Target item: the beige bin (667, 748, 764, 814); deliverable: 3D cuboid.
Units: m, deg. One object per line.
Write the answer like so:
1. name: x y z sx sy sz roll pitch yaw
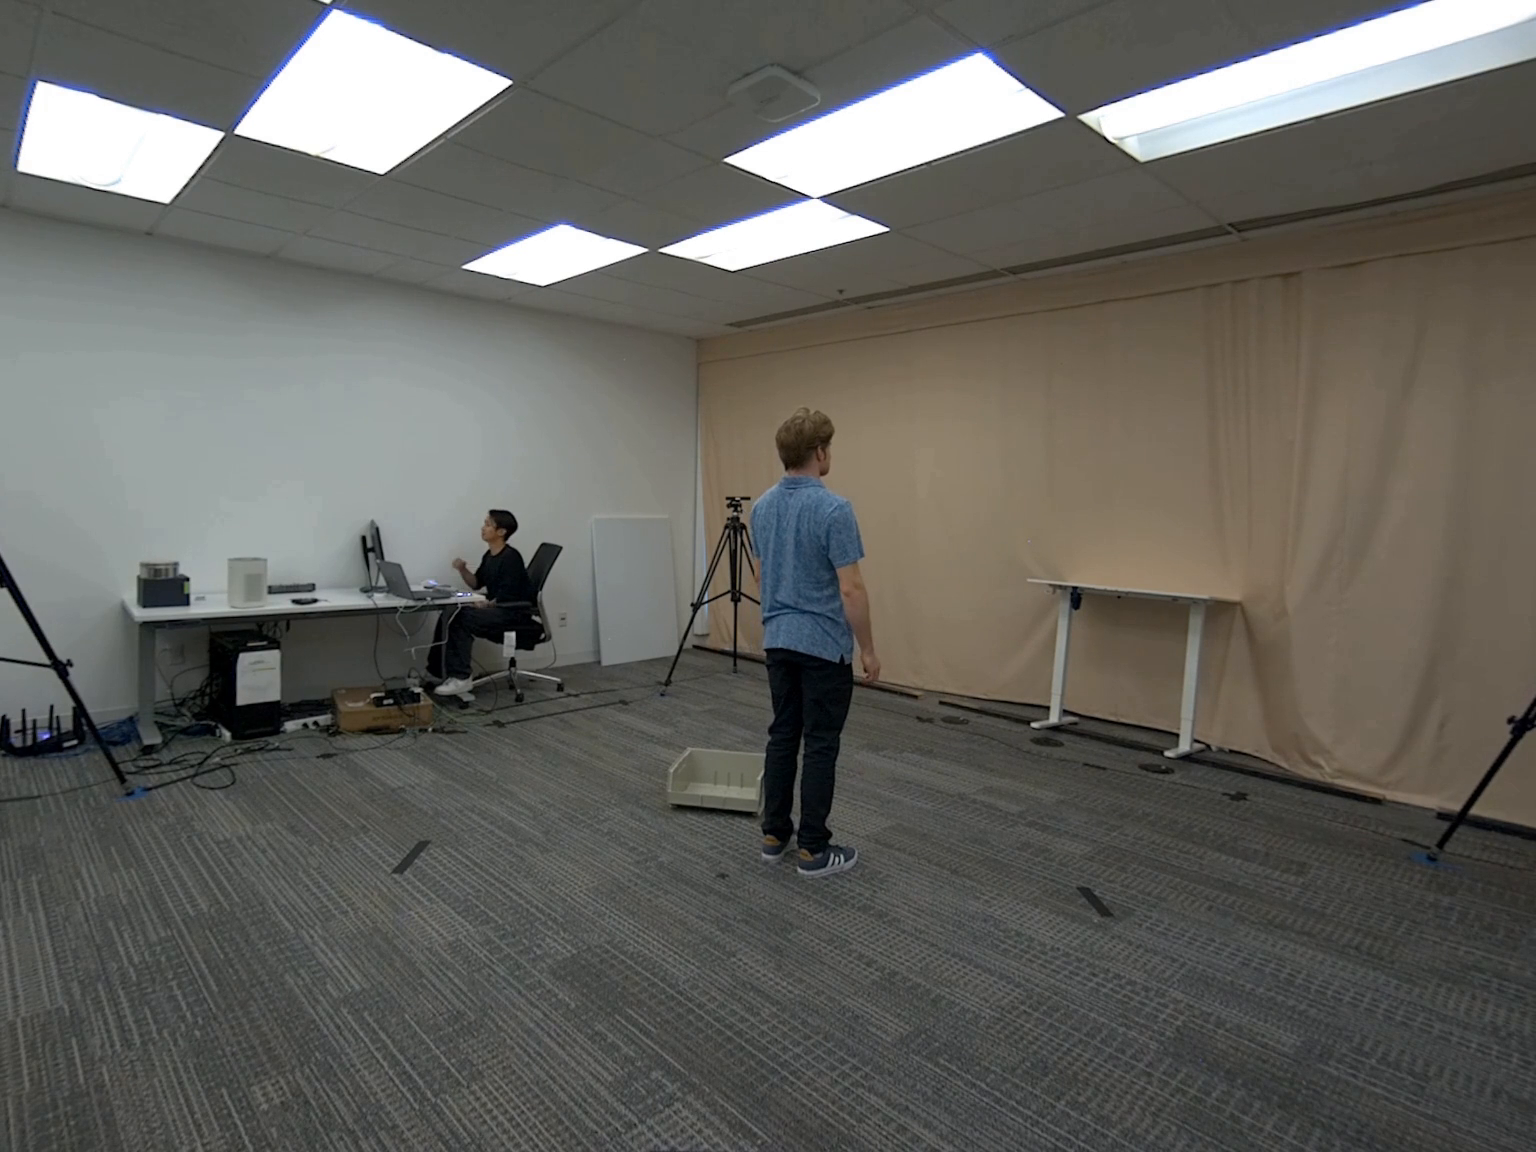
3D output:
1. beige bin: -0.223 0.950 3.879 0.426 0.188 0.375 2 4 10
